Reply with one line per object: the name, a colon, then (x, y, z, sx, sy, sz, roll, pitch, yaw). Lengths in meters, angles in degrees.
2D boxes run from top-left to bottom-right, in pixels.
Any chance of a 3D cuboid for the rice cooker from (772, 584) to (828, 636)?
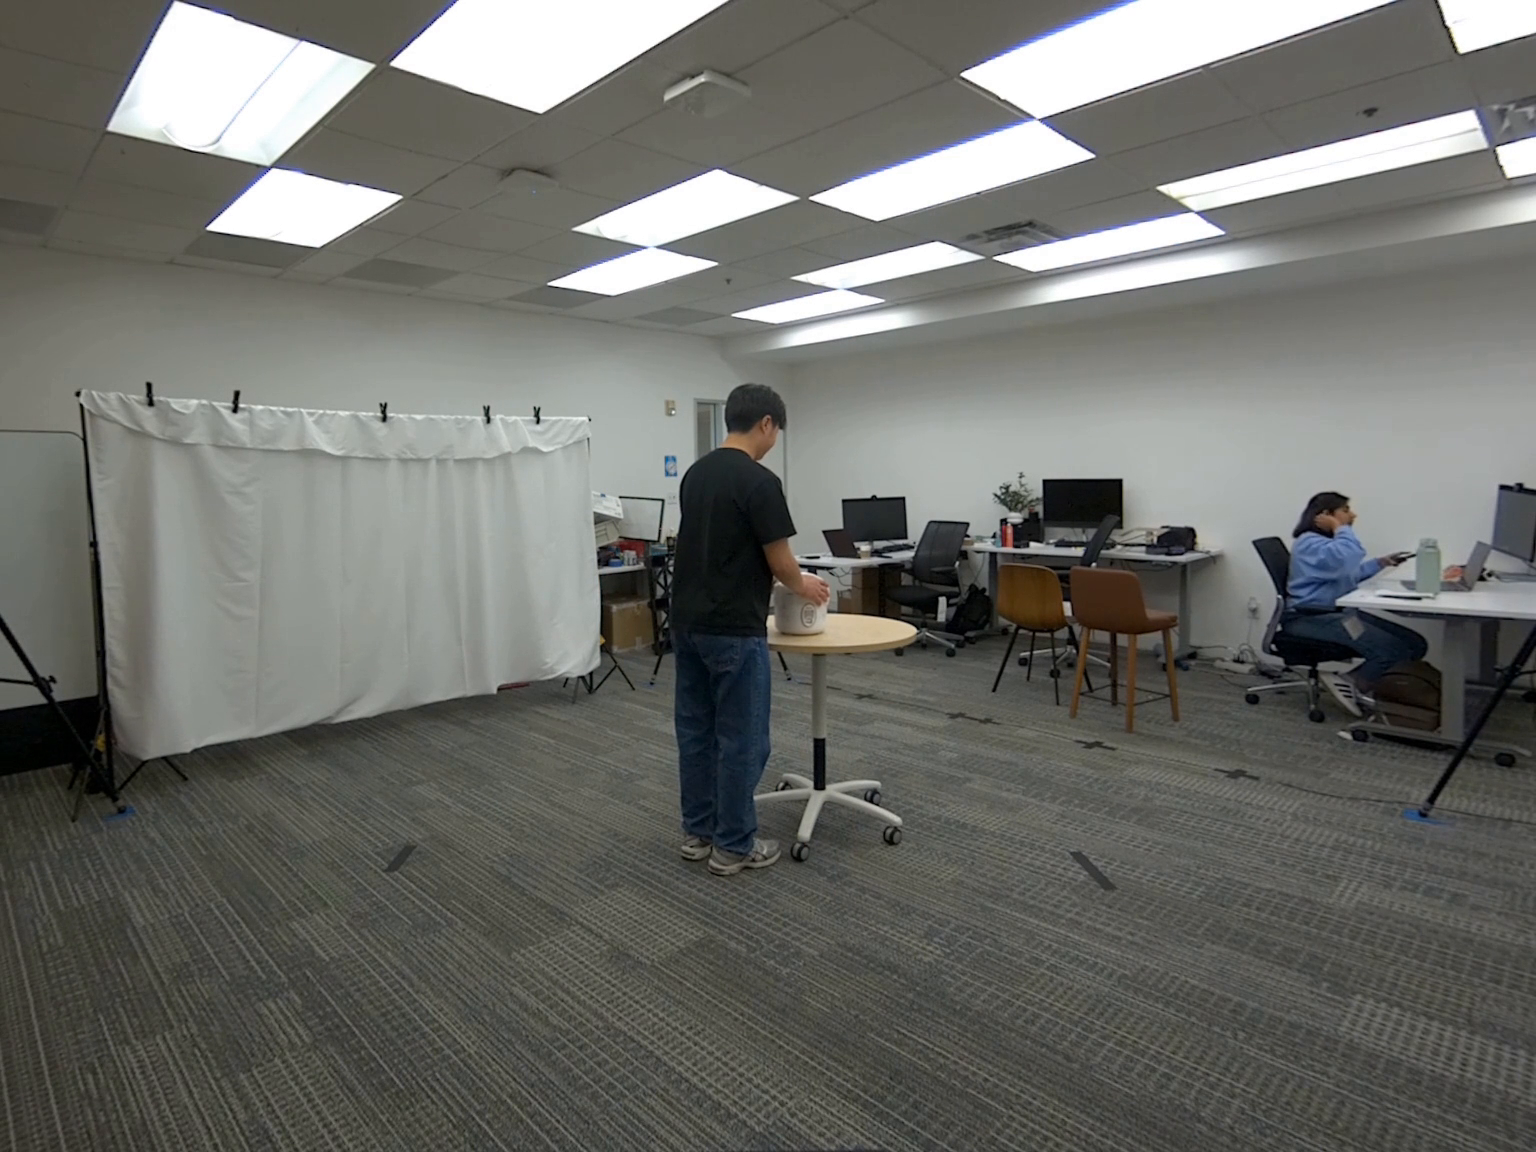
rice cooker: (0.128, 0.102, 3.318, 0.218, 0.232, 0.221, -4, 6, -12)
